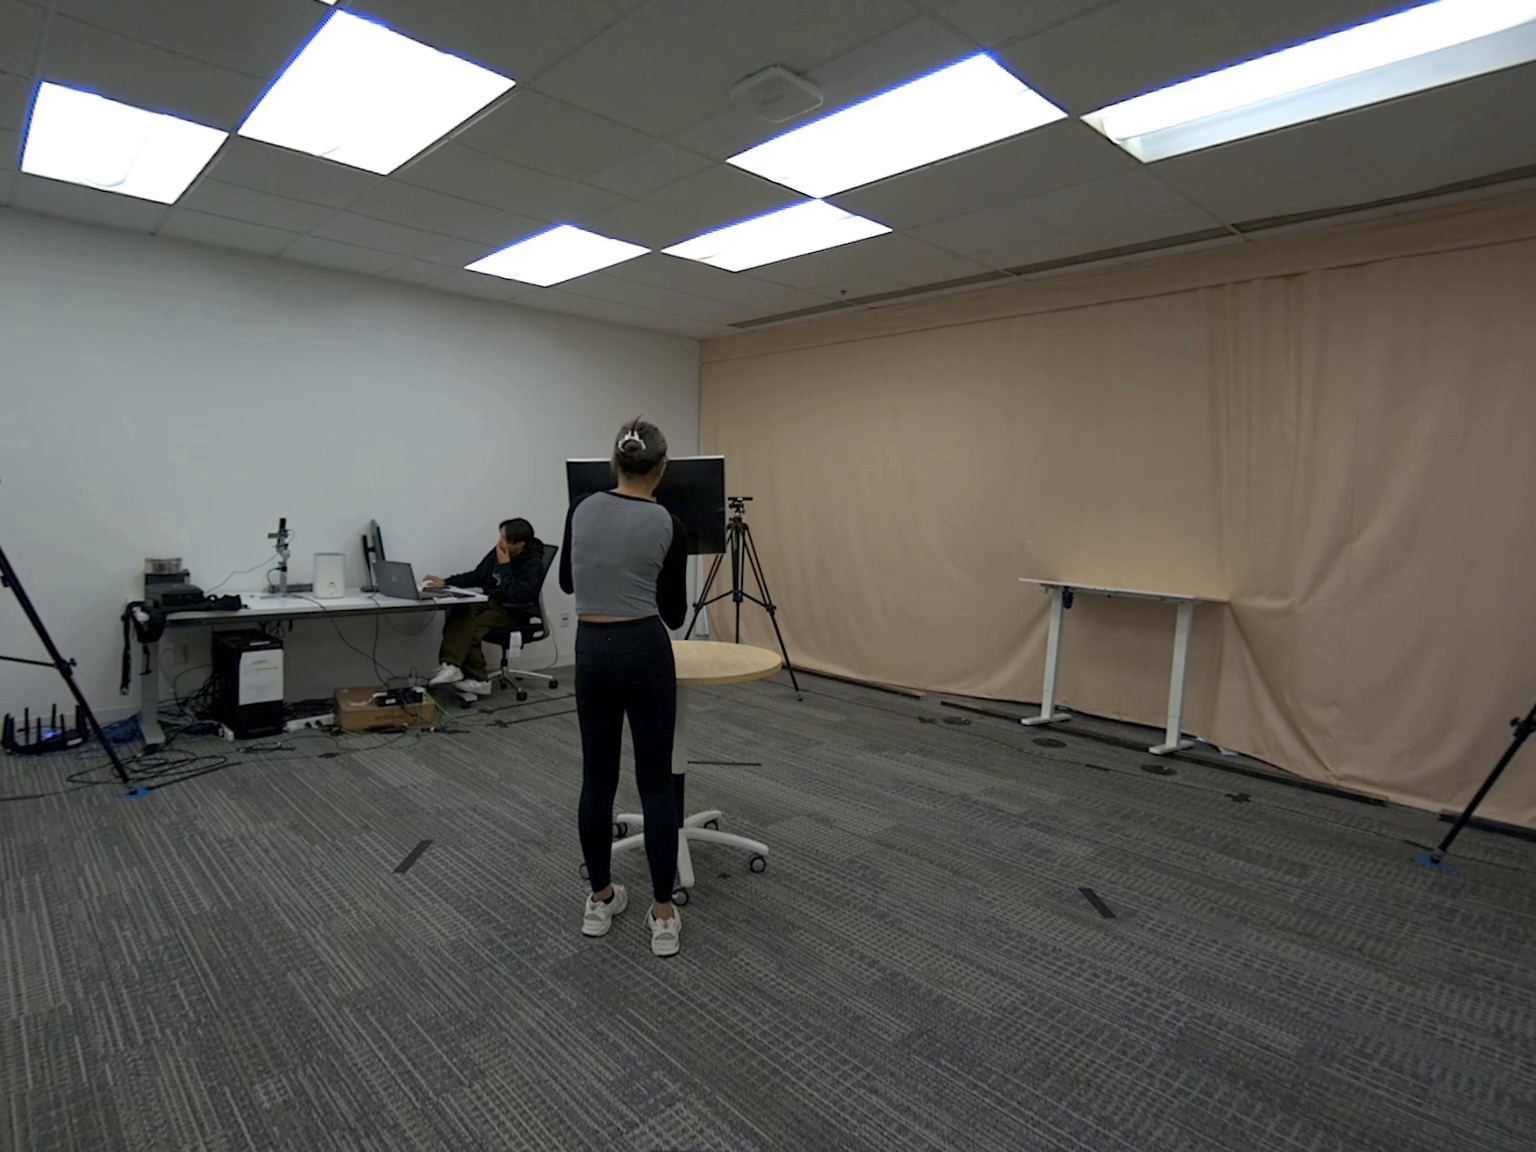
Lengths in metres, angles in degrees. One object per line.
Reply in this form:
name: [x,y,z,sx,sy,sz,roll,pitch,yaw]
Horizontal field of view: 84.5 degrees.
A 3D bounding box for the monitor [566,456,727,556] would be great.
monitor: [-0.420,-0.149,2.977,0.538,0.519,0.188,-2,7,-2]
